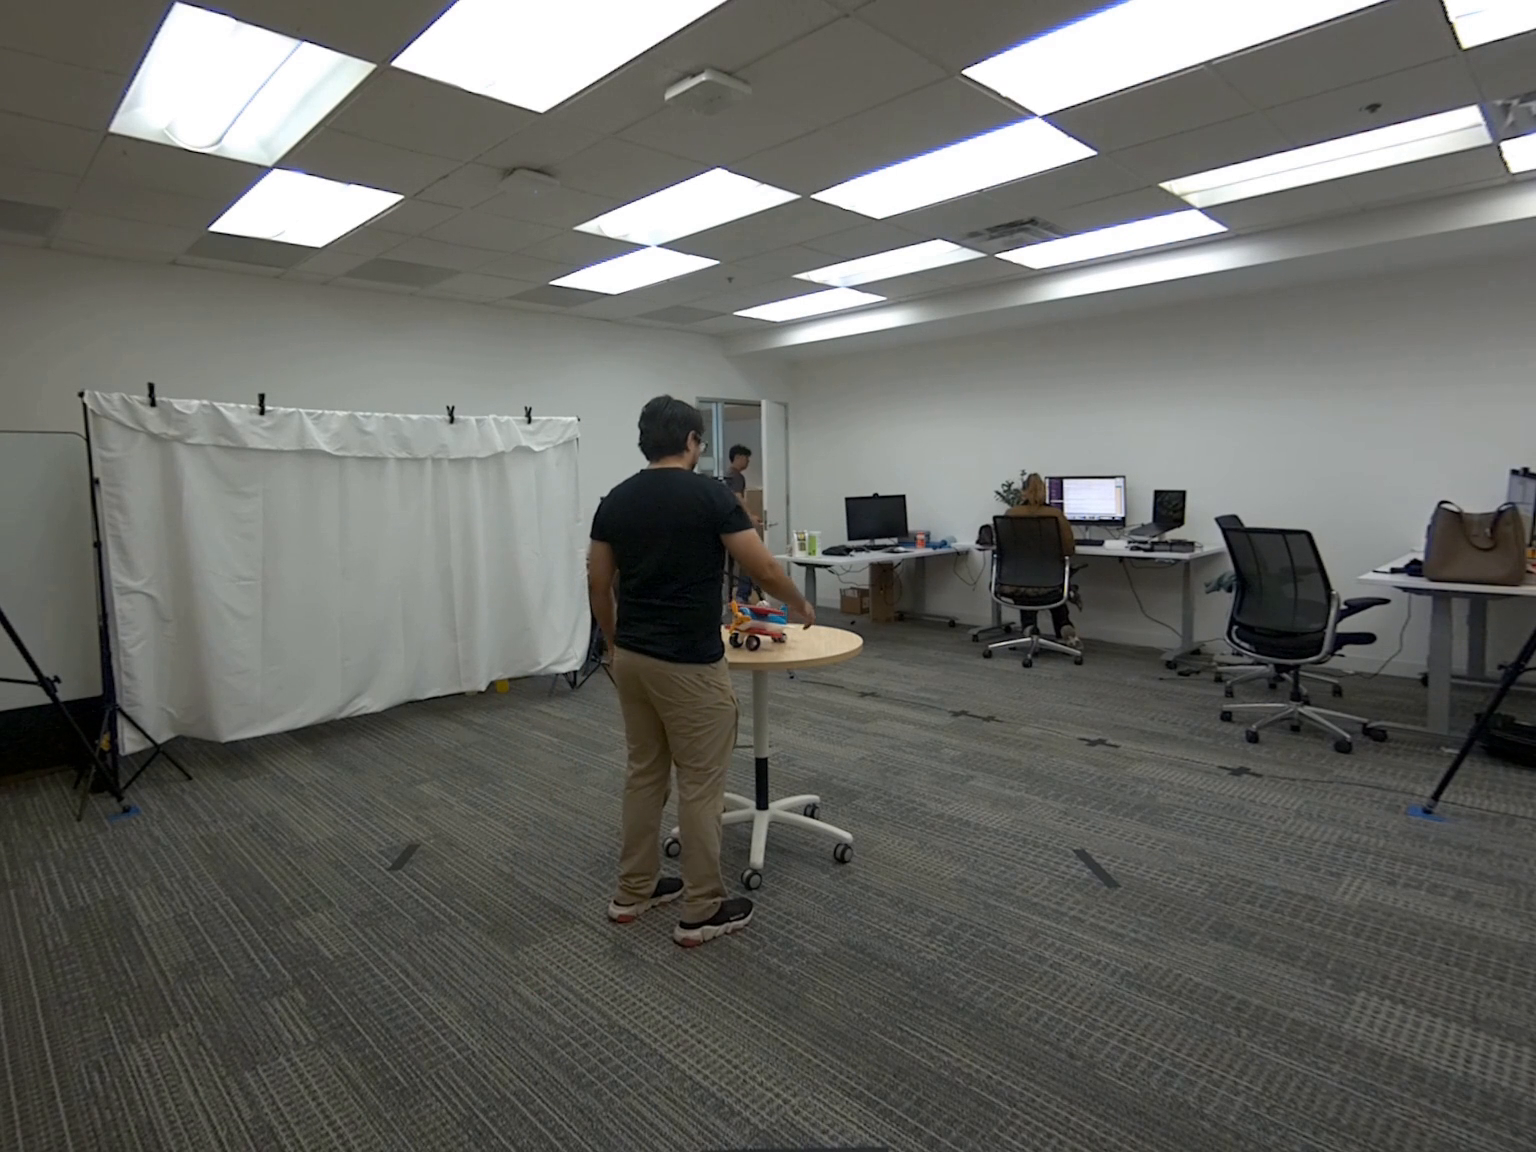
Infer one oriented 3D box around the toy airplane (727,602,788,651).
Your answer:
[{"bbox_3d":[-0.045,0.174,3.113,0.256,0.155,0.256,1,8,19],"label":"toy airplane"}]
